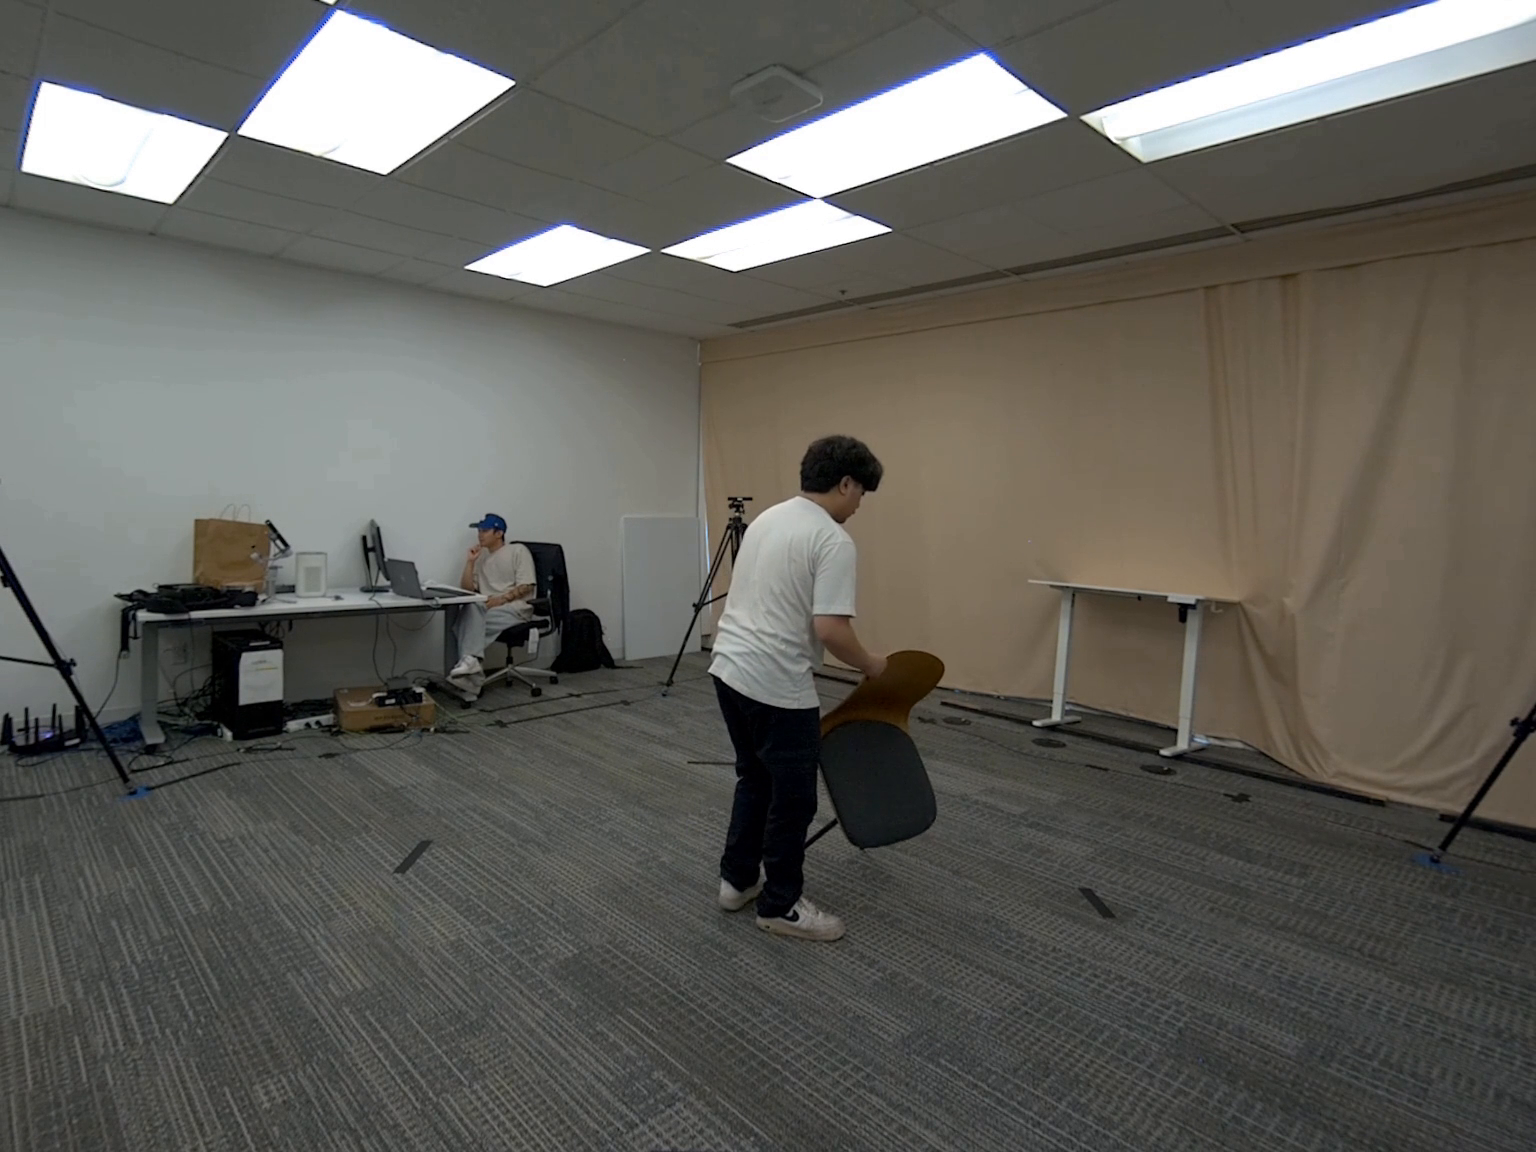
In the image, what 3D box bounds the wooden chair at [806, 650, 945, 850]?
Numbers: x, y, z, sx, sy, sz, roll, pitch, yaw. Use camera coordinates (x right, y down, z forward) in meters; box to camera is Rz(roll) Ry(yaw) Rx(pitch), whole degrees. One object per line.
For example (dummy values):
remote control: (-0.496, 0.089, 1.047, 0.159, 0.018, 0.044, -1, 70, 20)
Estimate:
wooden chair: (0.343, 0.705, 3.037, 0.467, 0.536, 0.876, 1, -34, -36)
